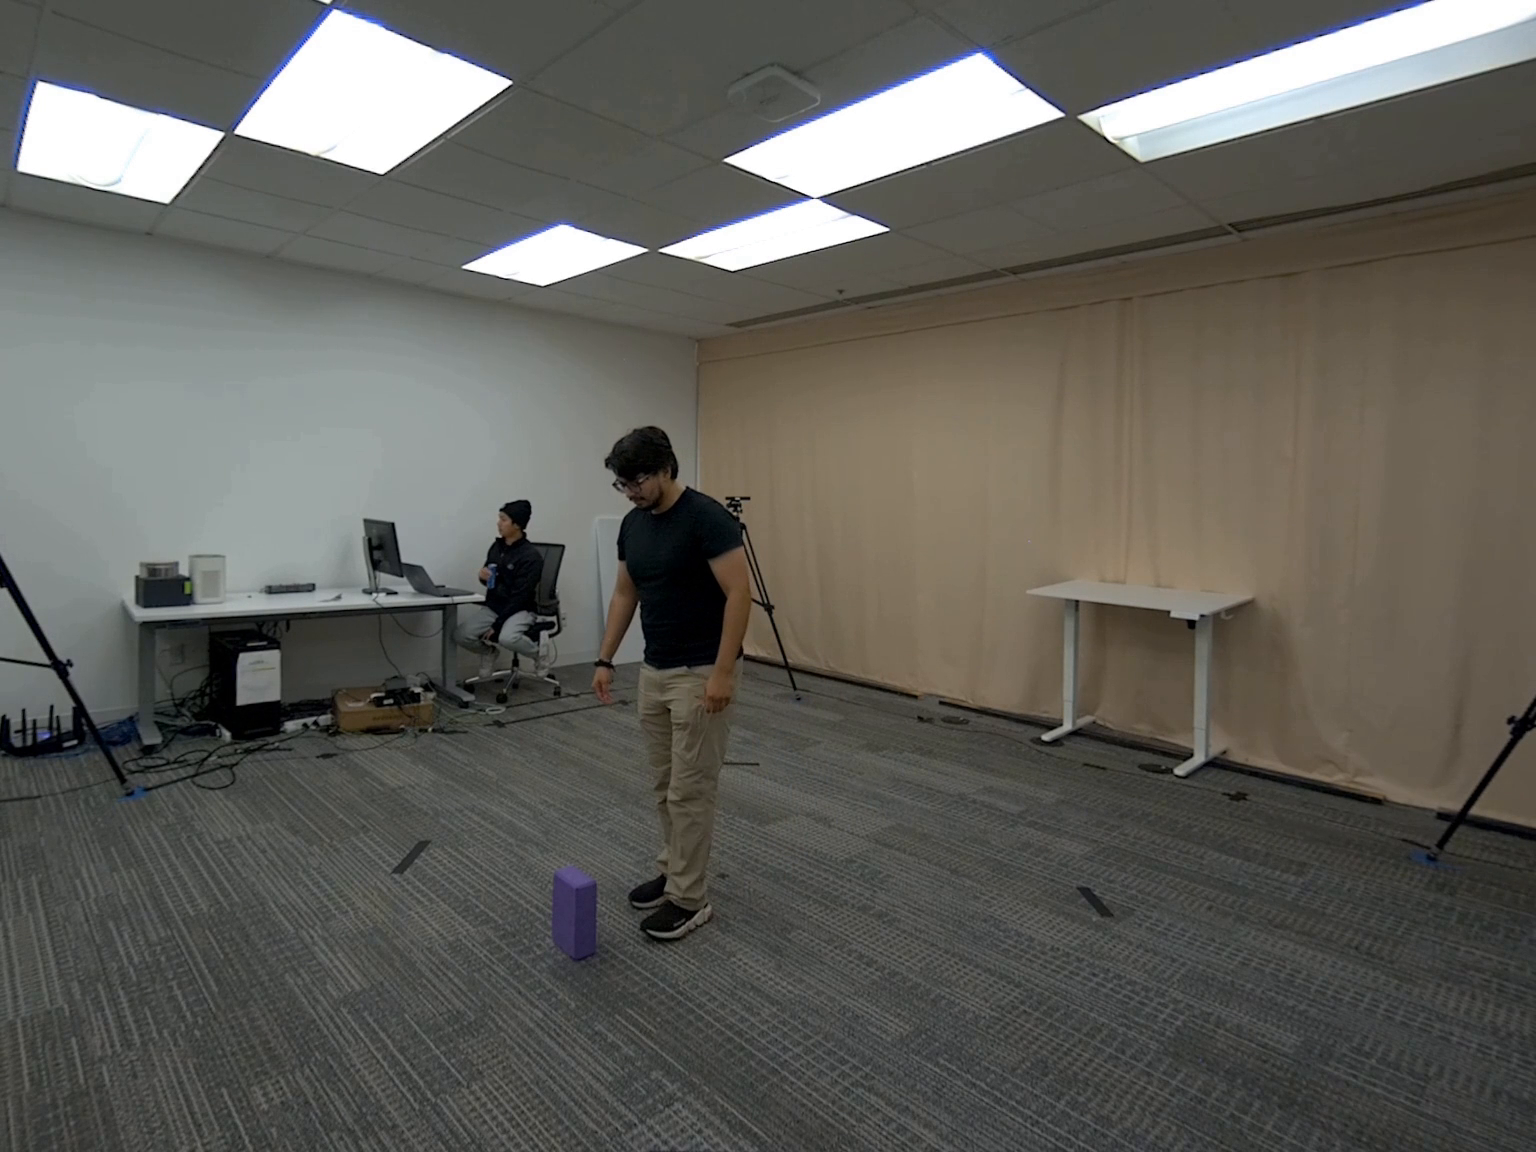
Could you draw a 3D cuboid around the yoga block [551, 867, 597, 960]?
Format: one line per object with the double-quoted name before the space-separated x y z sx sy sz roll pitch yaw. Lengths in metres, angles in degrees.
"yoga block" -0.601 1.031 2.573 0.074 0.229 0.153 -1 4 -42
